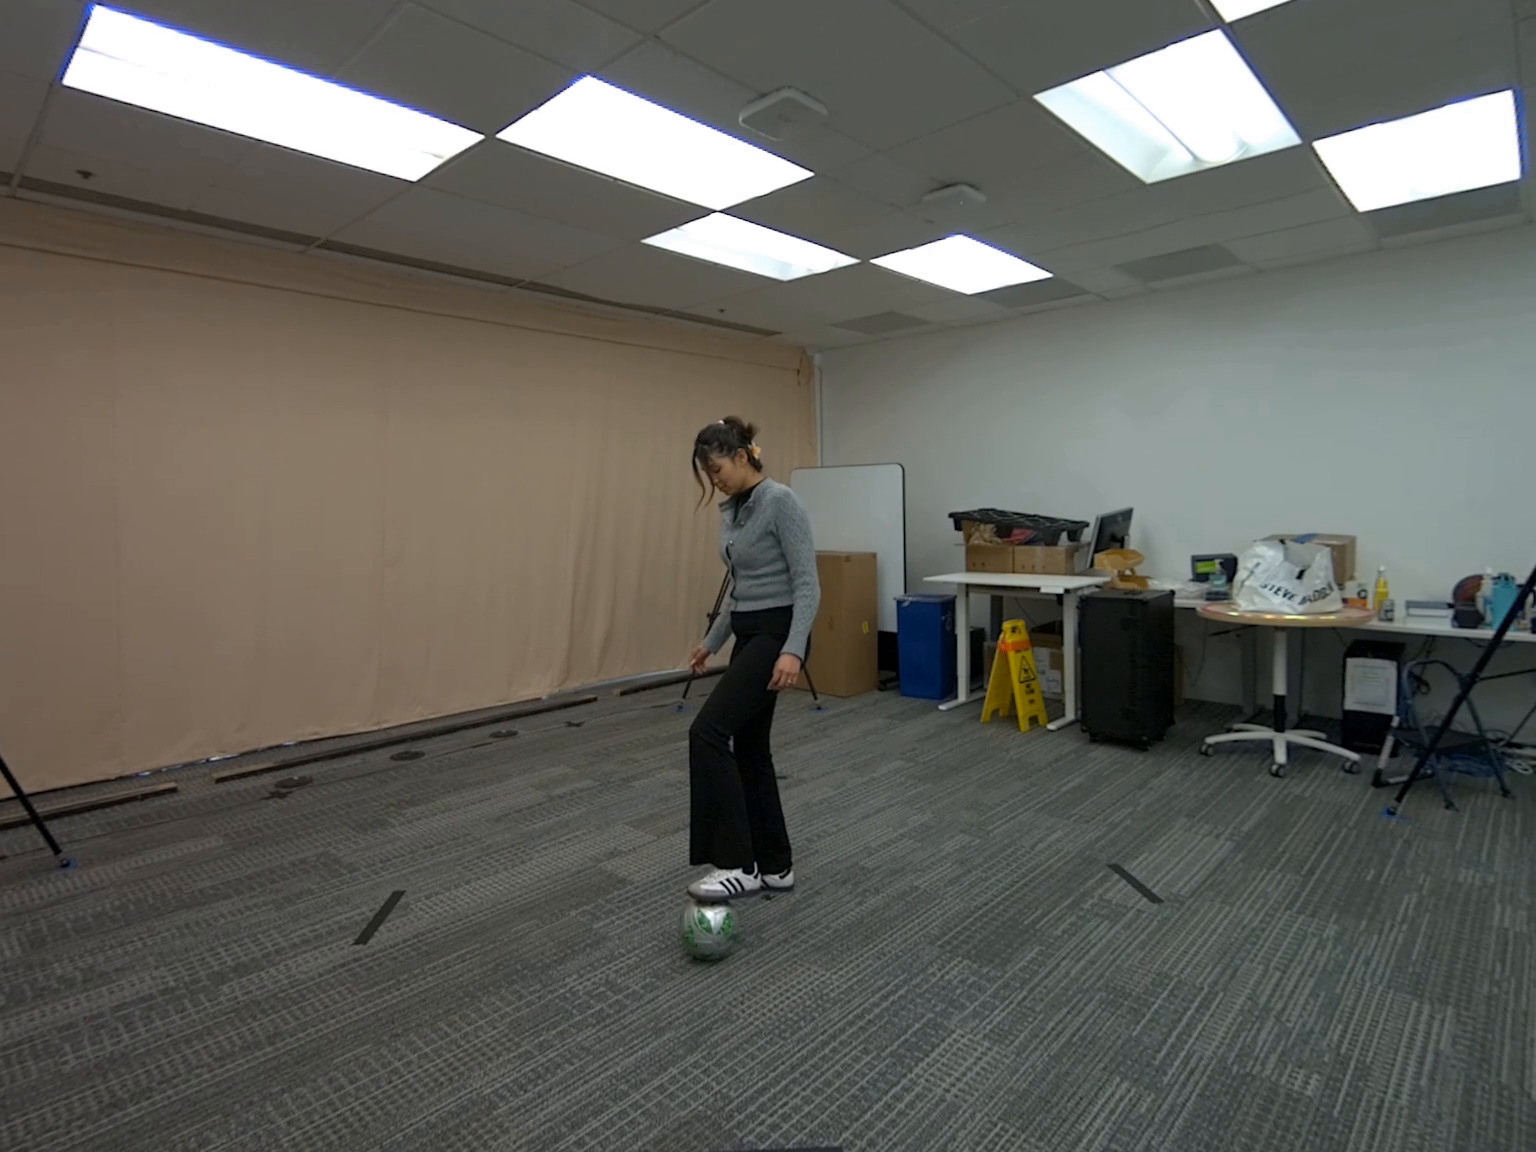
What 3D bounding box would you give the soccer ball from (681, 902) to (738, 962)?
[{"bbox_3d":[-0.178,1.082,2.600,0.187,0.187,0.188,-1,4,-2],"label":"soccer ball"}]
